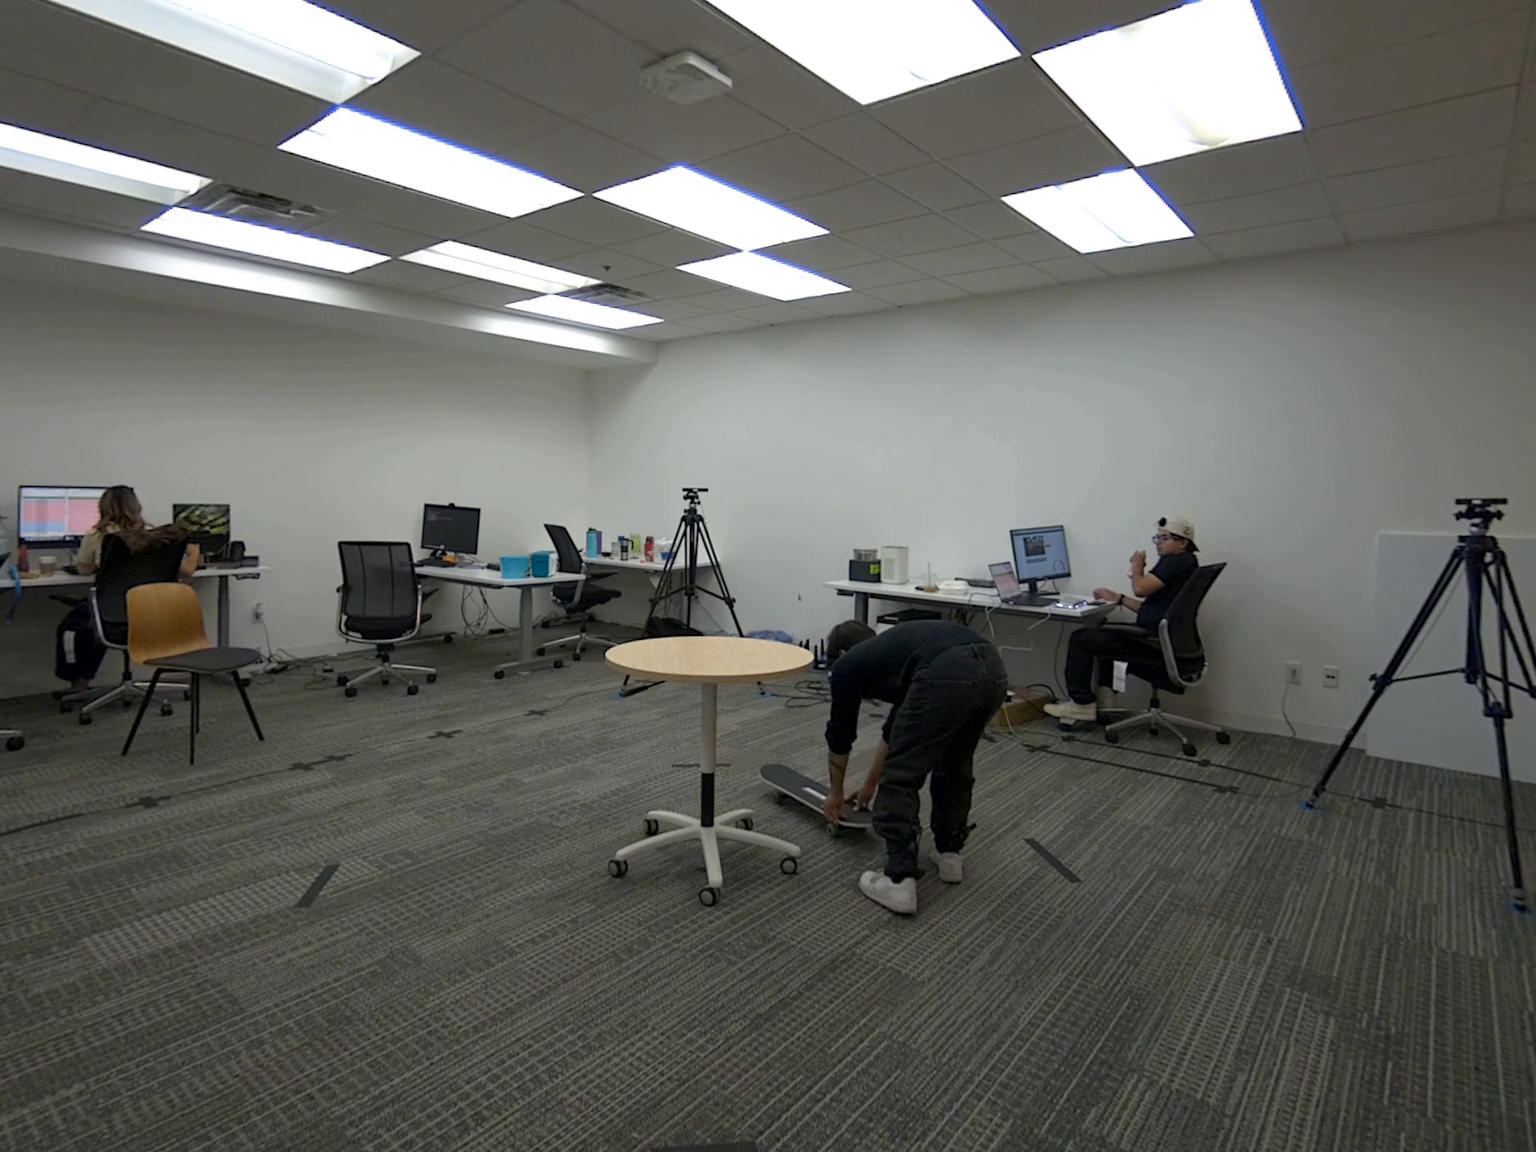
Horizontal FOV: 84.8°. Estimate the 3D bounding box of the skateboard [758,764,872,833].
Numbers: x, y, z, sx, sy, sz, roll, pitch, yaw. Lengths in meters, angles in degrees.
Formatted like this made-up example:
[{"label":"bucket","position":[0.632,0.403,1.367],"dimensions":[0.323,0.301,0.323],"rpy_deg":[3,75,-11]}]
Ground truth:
[{"label":"skateboard","position":[0.203,0.967,3.645],"dimensions":[0.188,0.110,0.810],"rpy_deg":[-2,7,-31]}]
